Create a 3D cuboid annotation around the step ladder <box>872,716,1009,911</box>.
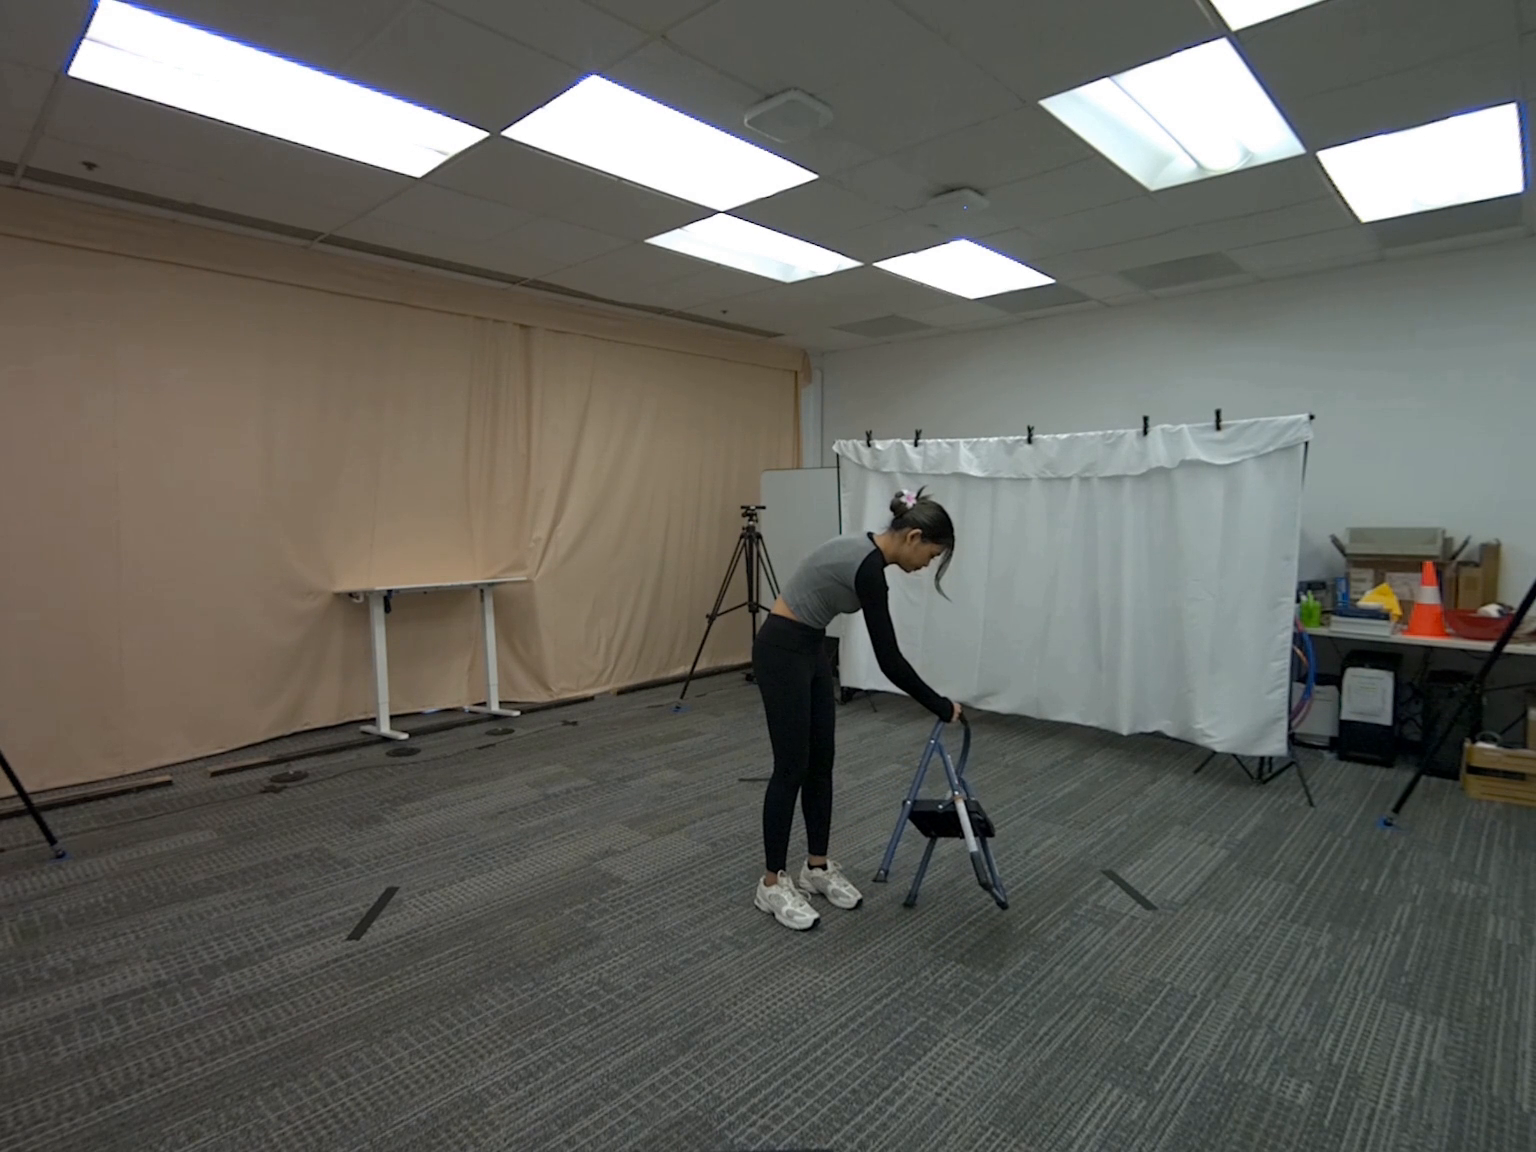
[{"bbox_3d":[0.598,0.766,2.842,0.357,0.613,0.416,-6,-32,23],"label":"step ladder"}]
